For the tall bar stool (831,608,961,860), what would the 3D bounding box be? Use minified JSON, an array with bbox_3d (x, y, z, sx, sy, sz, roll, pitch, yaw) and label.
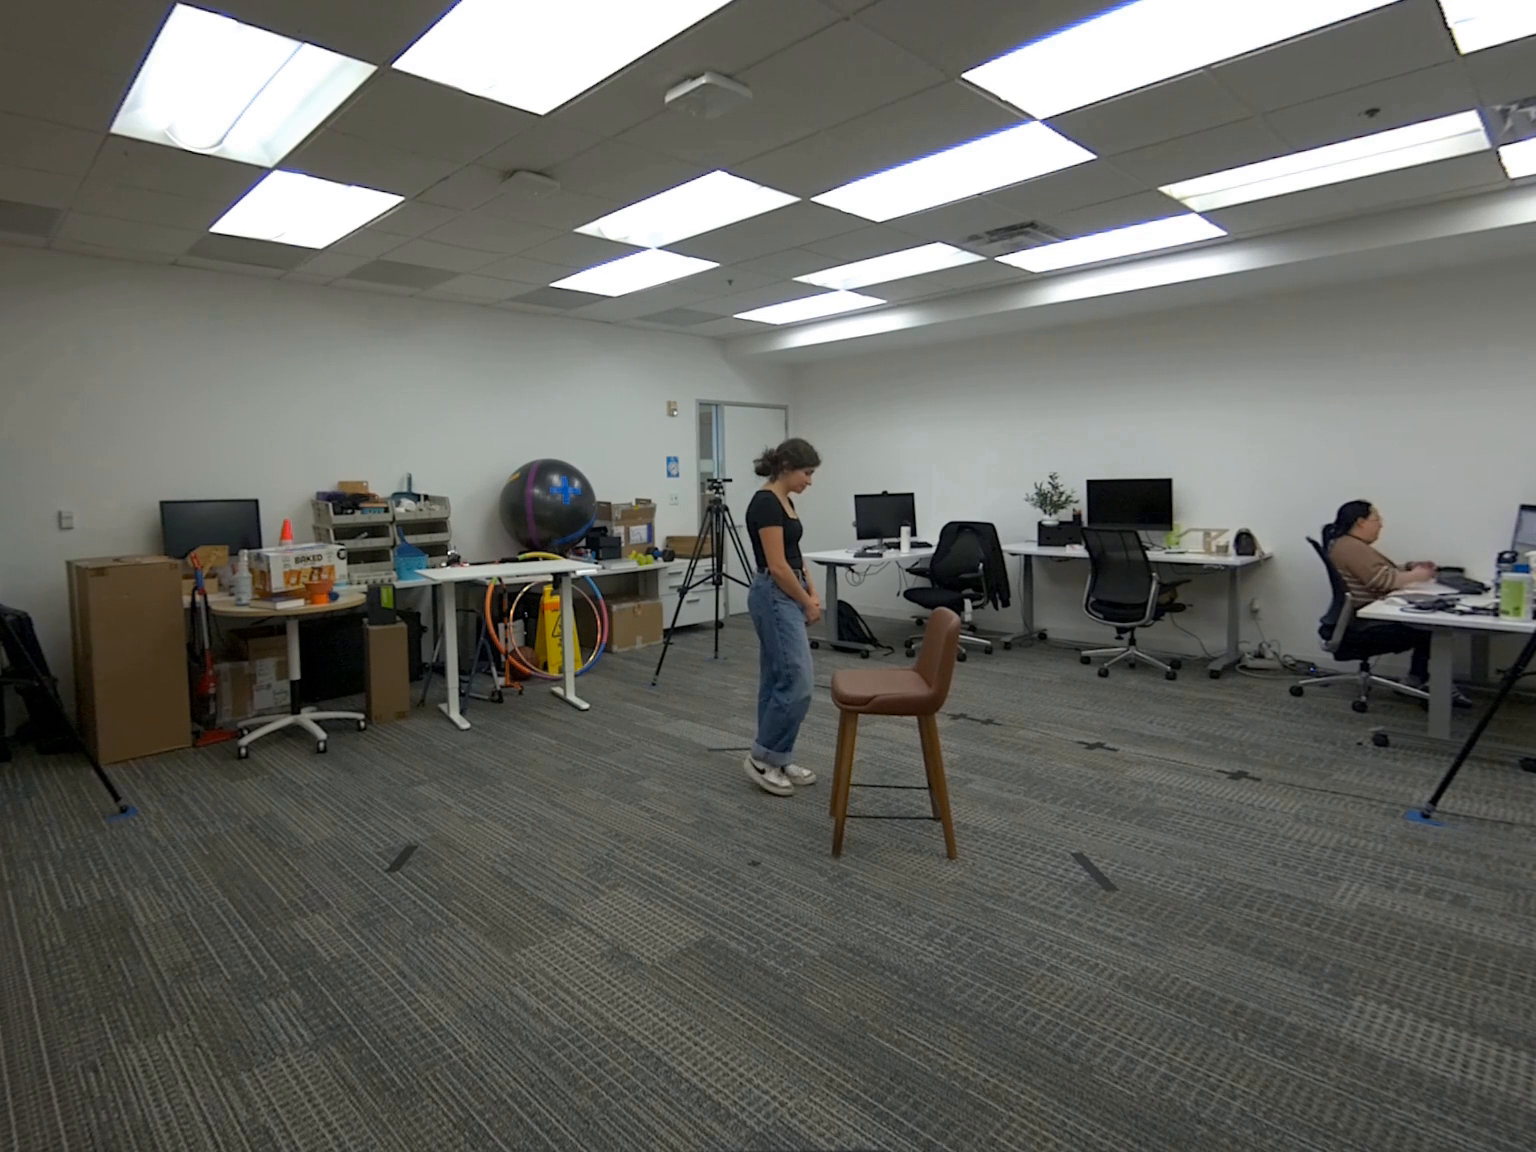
[{"bbox_3d":[0.477,0.579,3.297,0.470,0.887,0.456,1,4,4],"label":"tall bar stool"}]
